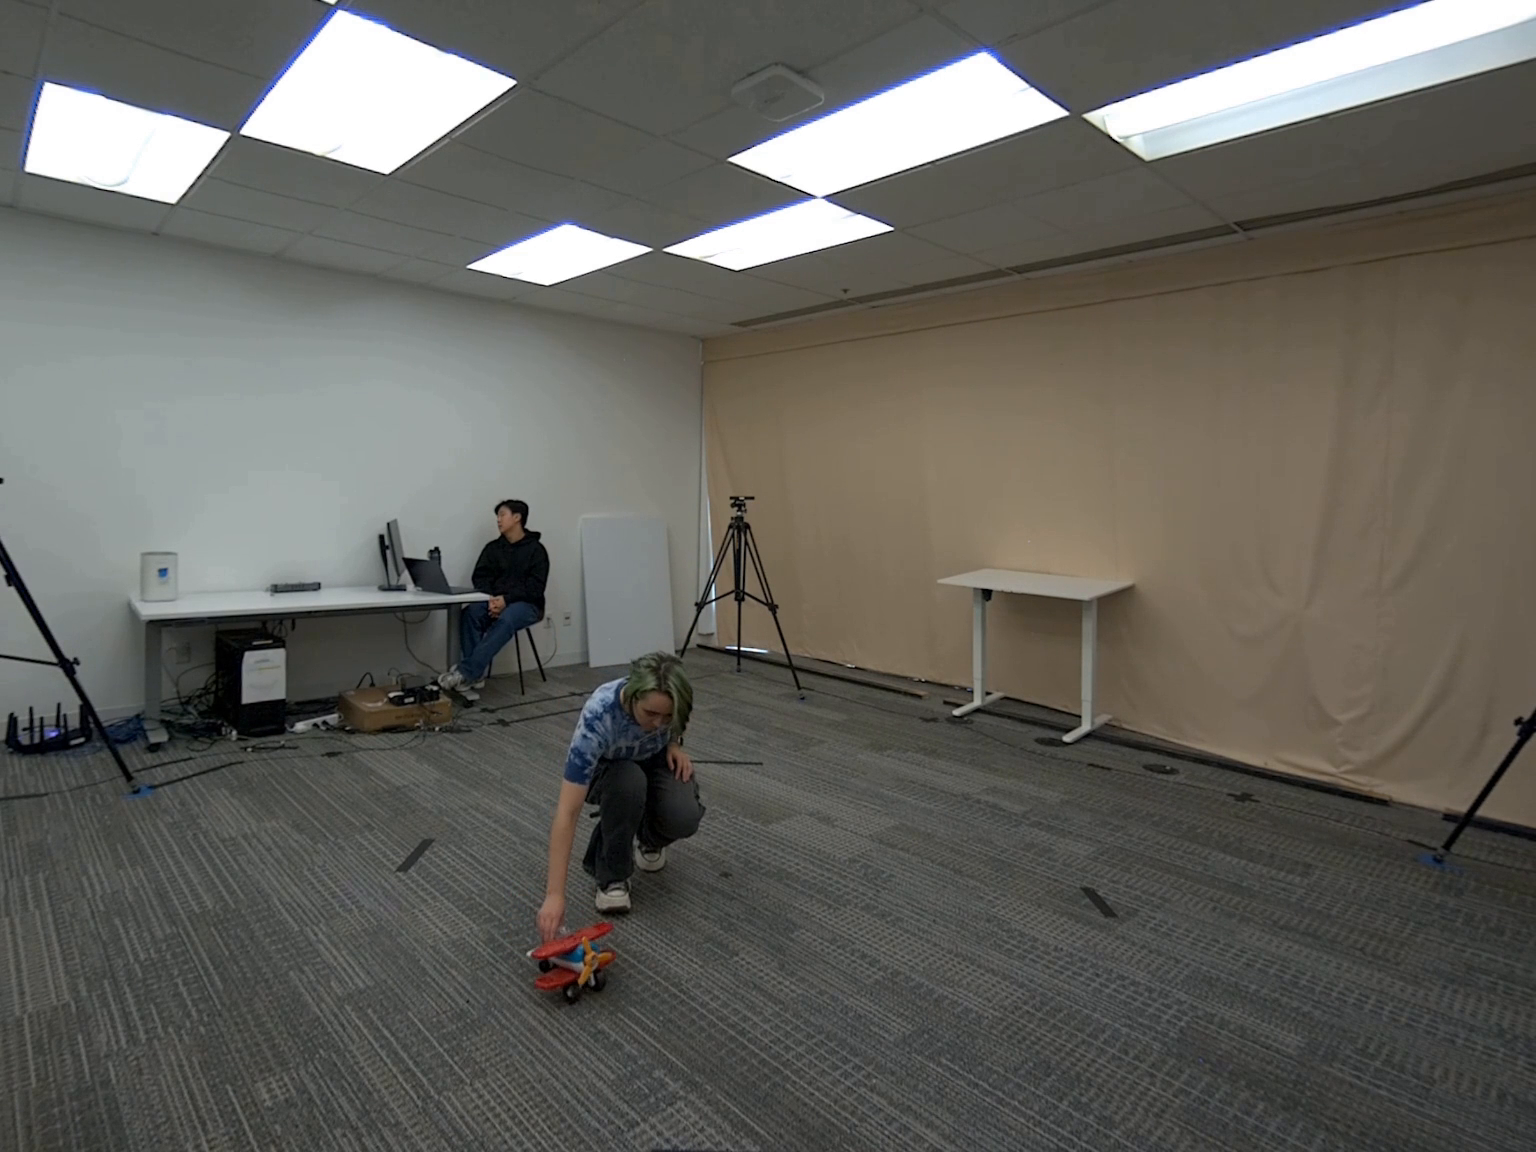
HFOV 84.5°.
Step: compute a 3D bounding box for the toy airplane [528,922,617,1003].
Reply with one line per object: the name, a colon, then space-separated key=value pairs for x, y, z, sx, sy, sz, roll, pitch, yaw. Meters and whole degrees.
toy airplane: x=-0.590 y=1.091 z=2.378 sx=0.263 sy=0.156 sz=0.248 roll=4 pitch=4 yaw=15
